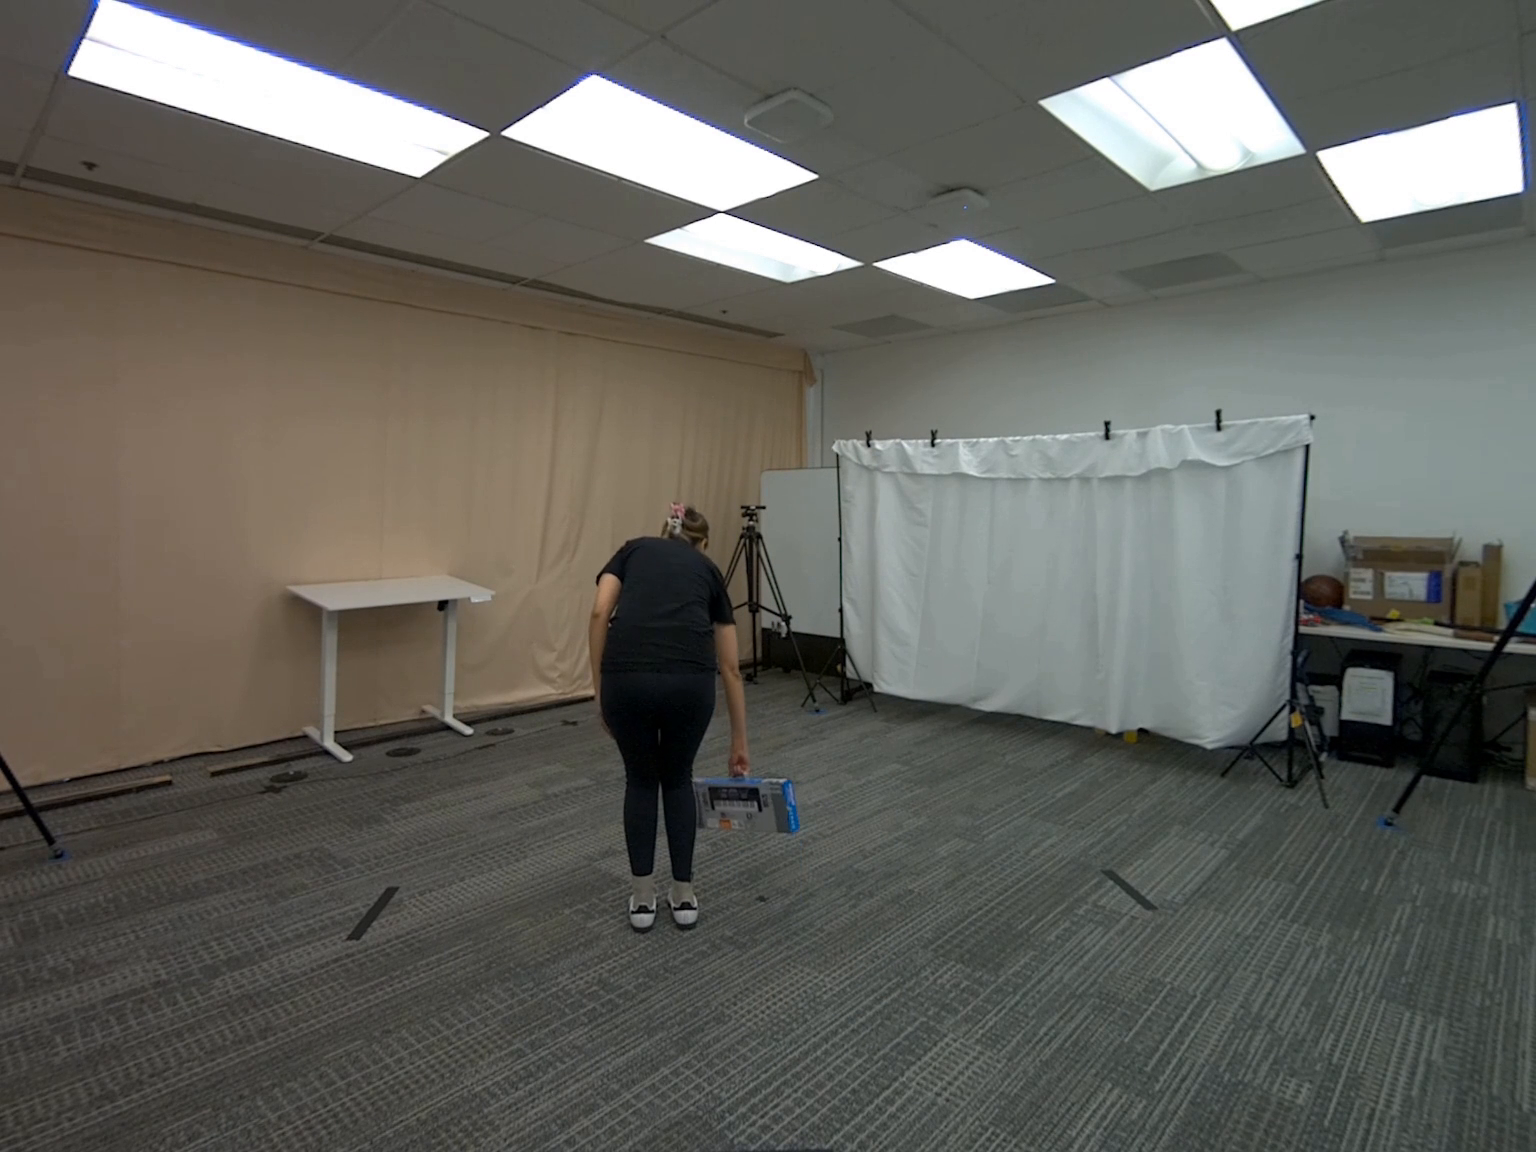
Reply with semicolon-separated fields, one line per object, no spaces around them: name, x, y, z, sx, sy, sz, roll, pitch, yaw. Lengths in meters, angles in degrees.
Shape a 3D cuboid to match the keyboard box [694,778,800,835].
keyboard box;-0.090;0.808;2.990;0.449;0.176;0.057;-10;-2;36
